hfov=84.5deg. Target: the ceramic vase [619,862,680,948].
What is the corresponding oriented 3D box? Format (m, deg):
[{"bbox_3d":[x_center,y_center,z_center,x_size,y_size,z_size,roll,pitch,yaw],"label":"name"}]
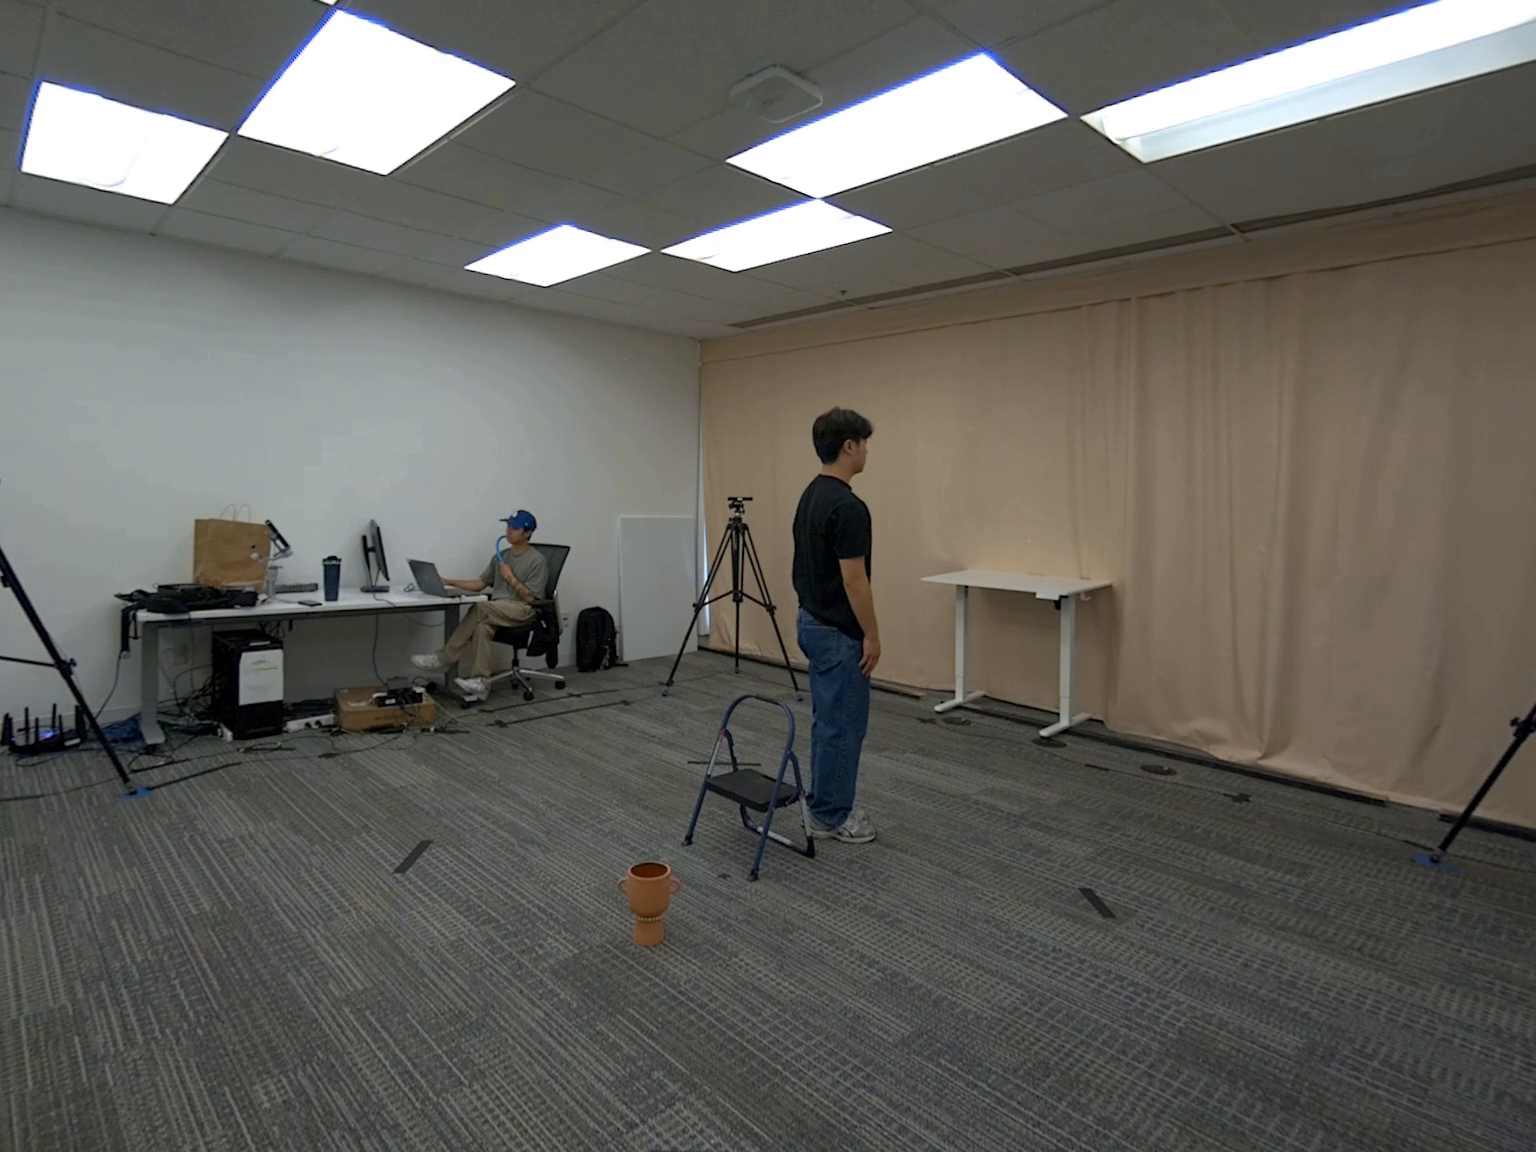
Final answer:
[{"bbox_3d":[-0.381,1.030,2.646,0.162,0.219,0.132,3,3,35],"label":"ceramic vase"}]
